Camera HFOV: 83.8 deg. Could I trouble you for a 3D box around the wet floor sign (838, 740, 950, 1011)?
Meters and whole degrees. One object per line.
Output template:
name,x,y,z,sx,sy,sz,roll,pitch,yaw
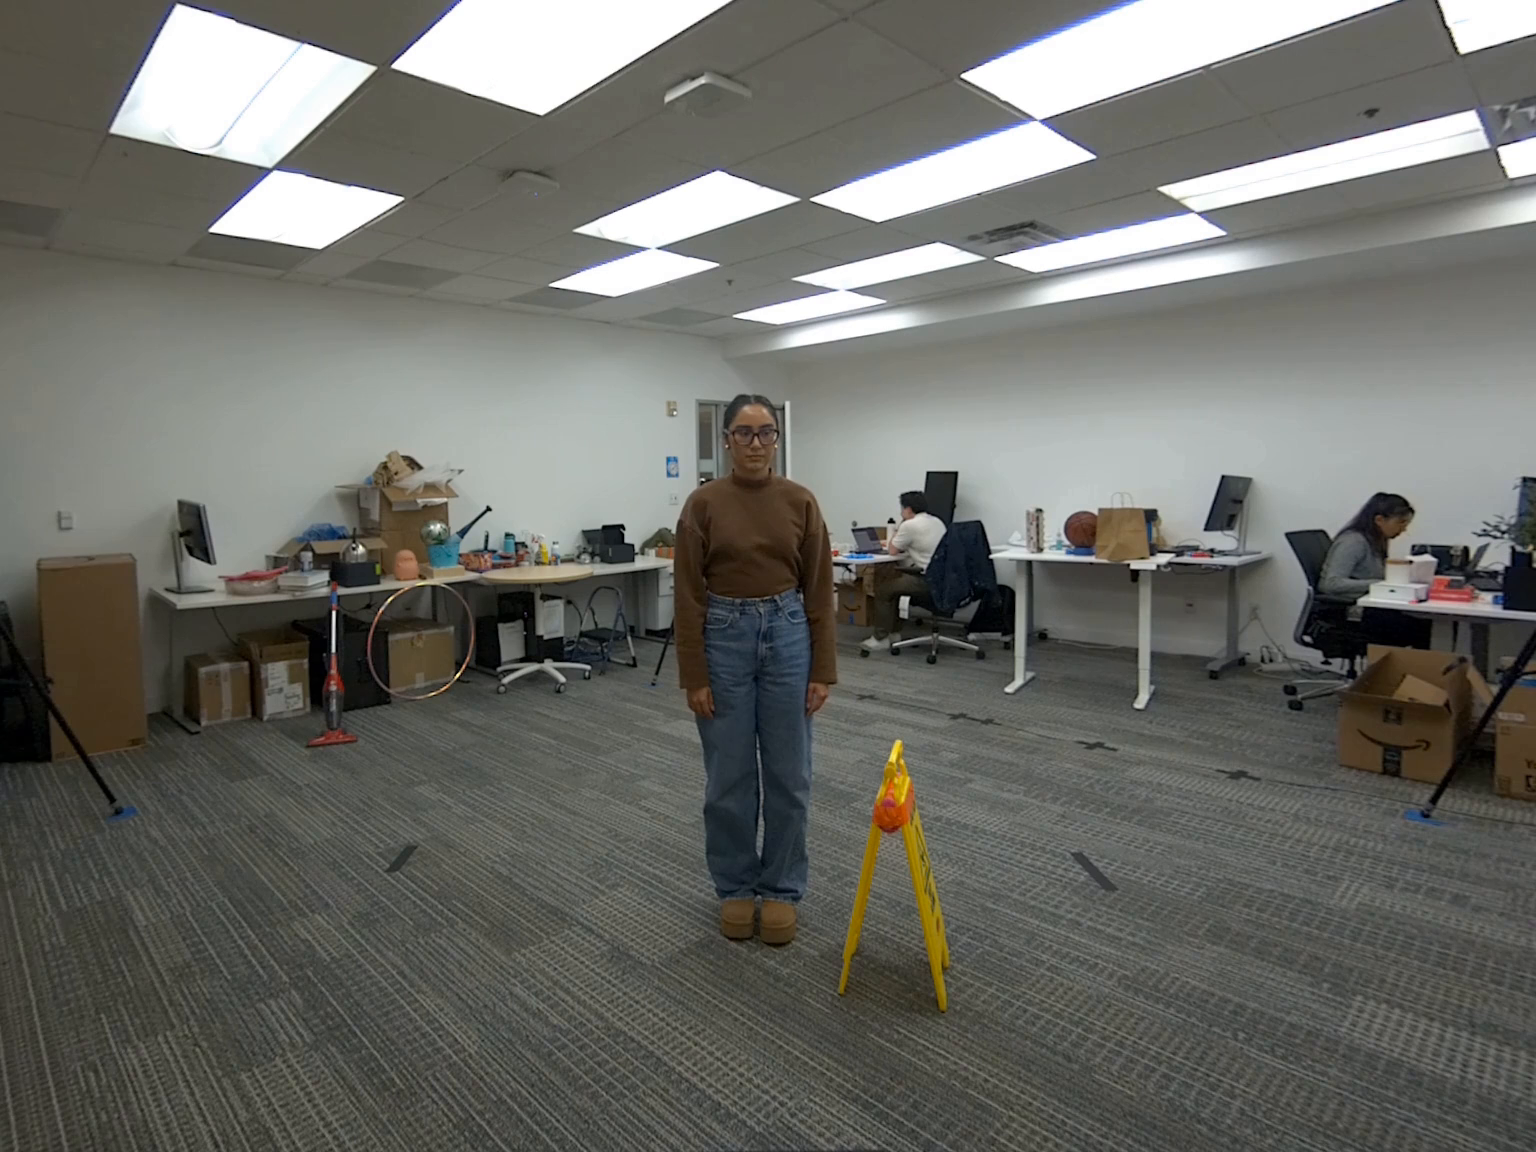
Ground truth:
wet floor sign,0.360,0.798,2.371,0.294,0.643,0.279,0,5,15
